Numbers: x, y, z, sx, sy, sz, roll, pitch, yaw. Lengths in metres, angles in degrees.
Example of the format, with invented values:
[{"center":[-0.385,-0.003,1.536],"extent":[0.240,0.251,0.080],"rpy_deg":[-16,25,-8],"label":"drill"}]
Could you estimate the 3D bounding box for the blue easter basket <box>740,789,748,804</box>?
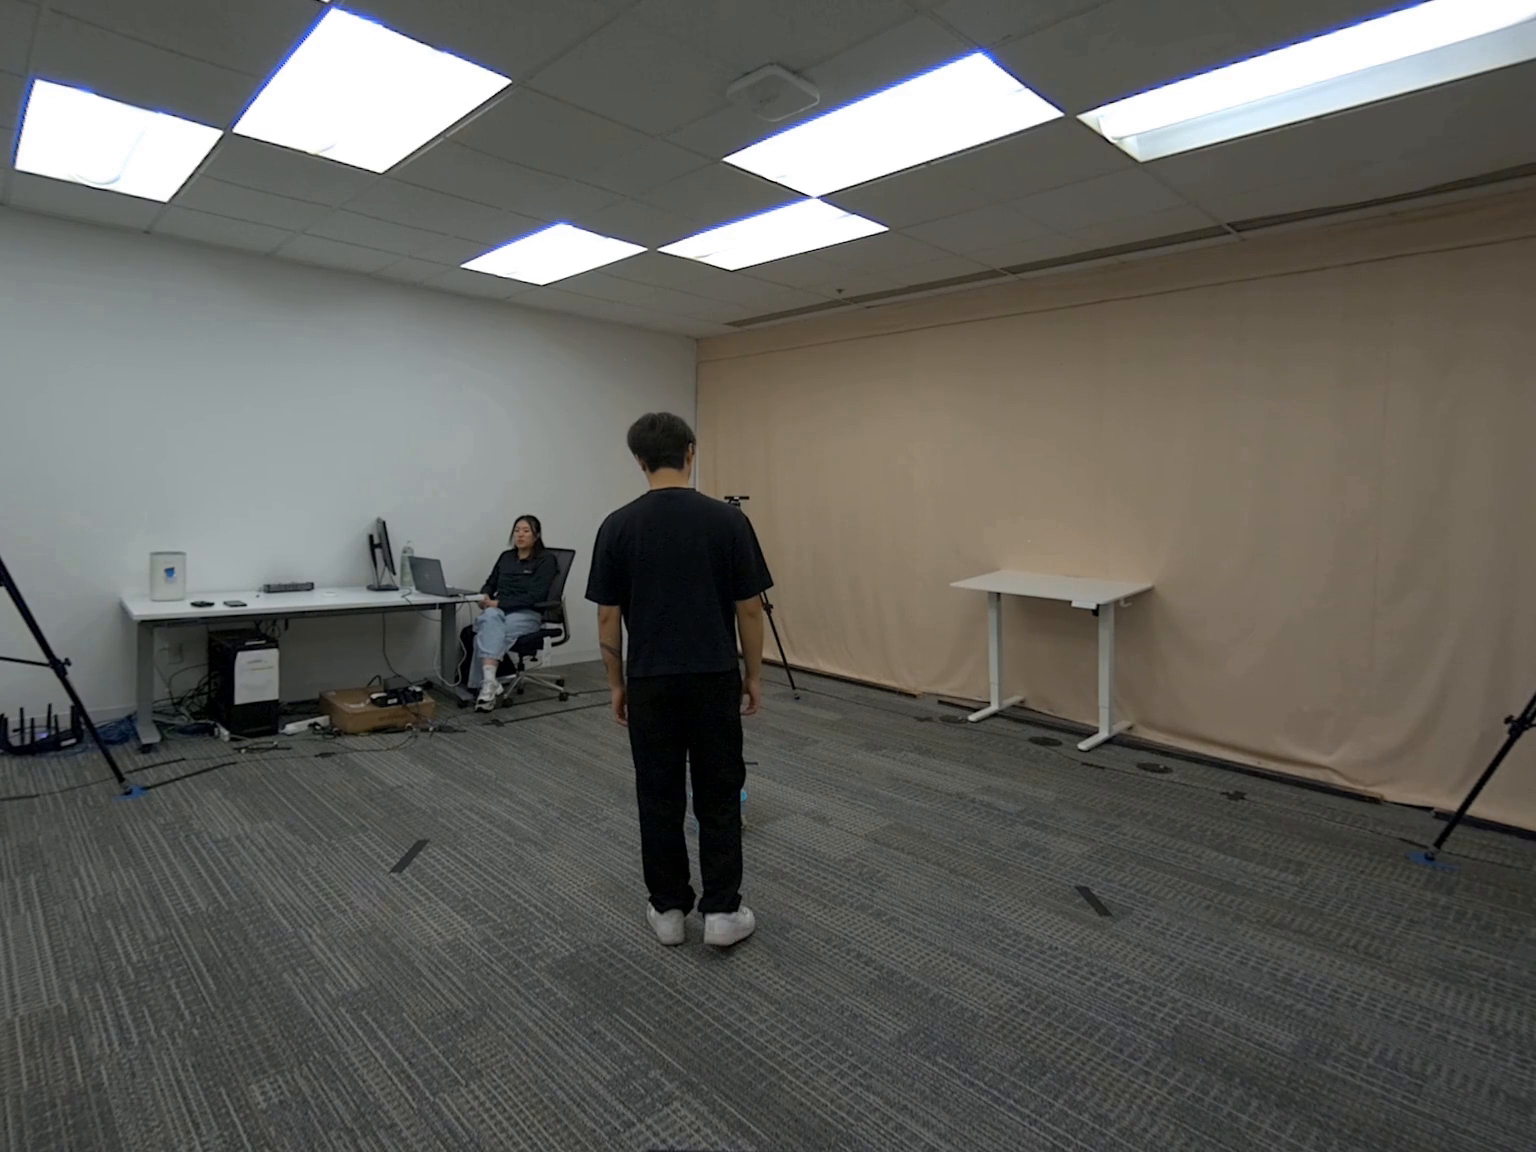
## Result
[{"center":[-0.215,0.991,3.532],"extent":[0.243,0.155,0.244],"rpy_deg":[1,4,-1],"label":"blue easter basket"}]
